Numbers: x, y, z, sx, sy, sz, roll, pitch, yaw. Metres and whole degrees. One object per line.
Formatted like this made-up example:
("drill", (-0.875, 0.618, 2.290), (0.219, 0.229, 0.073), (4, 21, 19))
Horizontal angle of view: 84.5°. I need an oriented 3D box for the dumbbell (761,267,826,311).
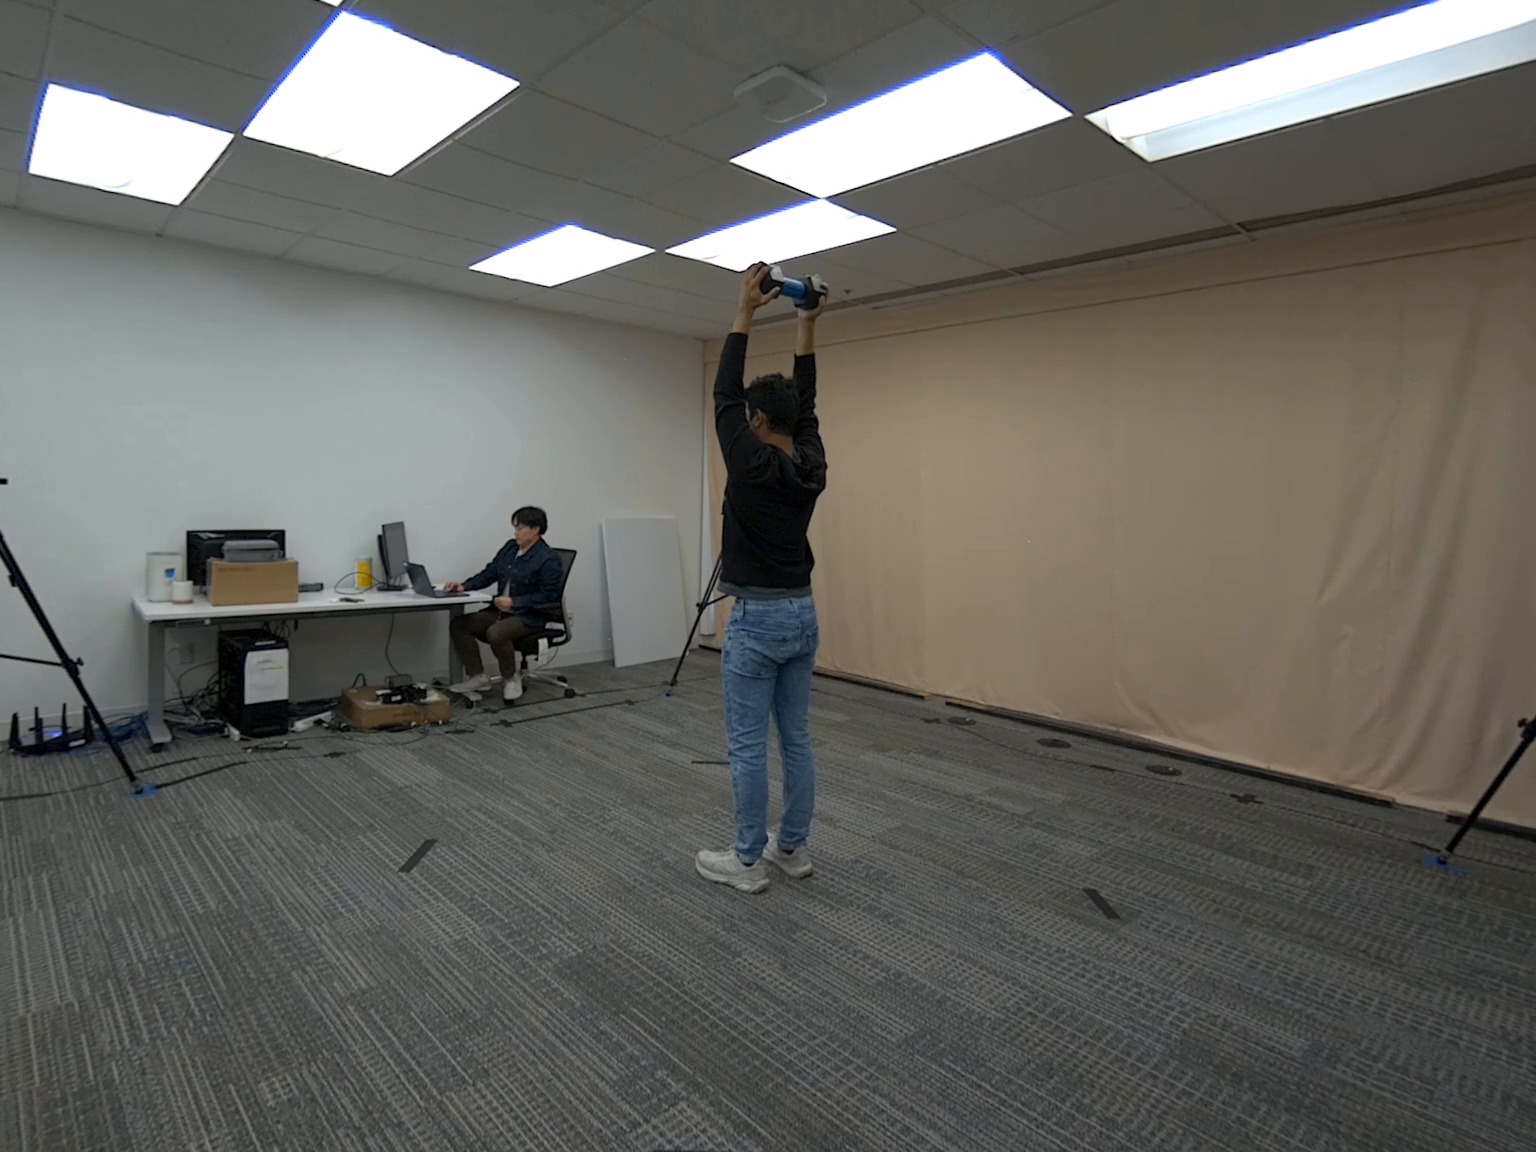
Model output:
("dumbbell", (0.060, -1.015, 2.946), (0.287, 0.108, 0.126), (-2, 15, -37))
